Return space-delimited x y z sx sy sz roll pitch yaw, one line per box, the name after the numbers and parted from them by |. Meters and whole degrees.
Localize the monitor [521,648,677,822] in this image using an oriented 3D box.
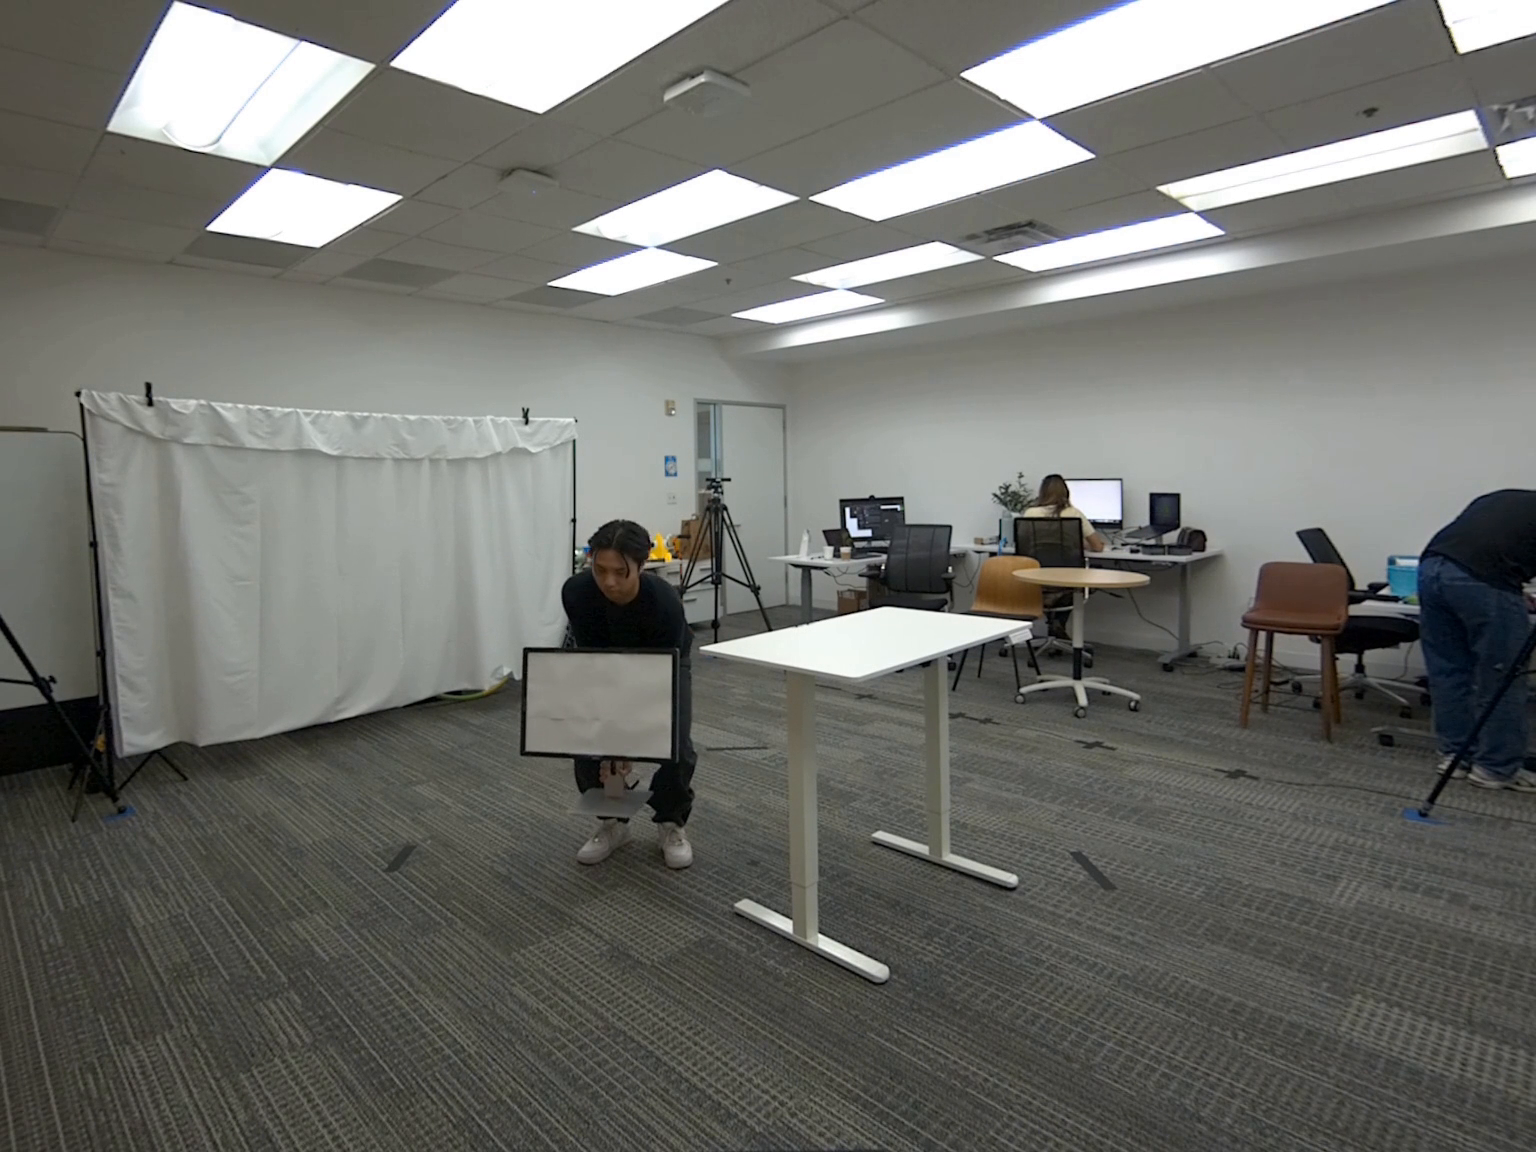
-0.555 0.518 2.881 0.546 0.520 0.185 -4 4 15 | monitor
